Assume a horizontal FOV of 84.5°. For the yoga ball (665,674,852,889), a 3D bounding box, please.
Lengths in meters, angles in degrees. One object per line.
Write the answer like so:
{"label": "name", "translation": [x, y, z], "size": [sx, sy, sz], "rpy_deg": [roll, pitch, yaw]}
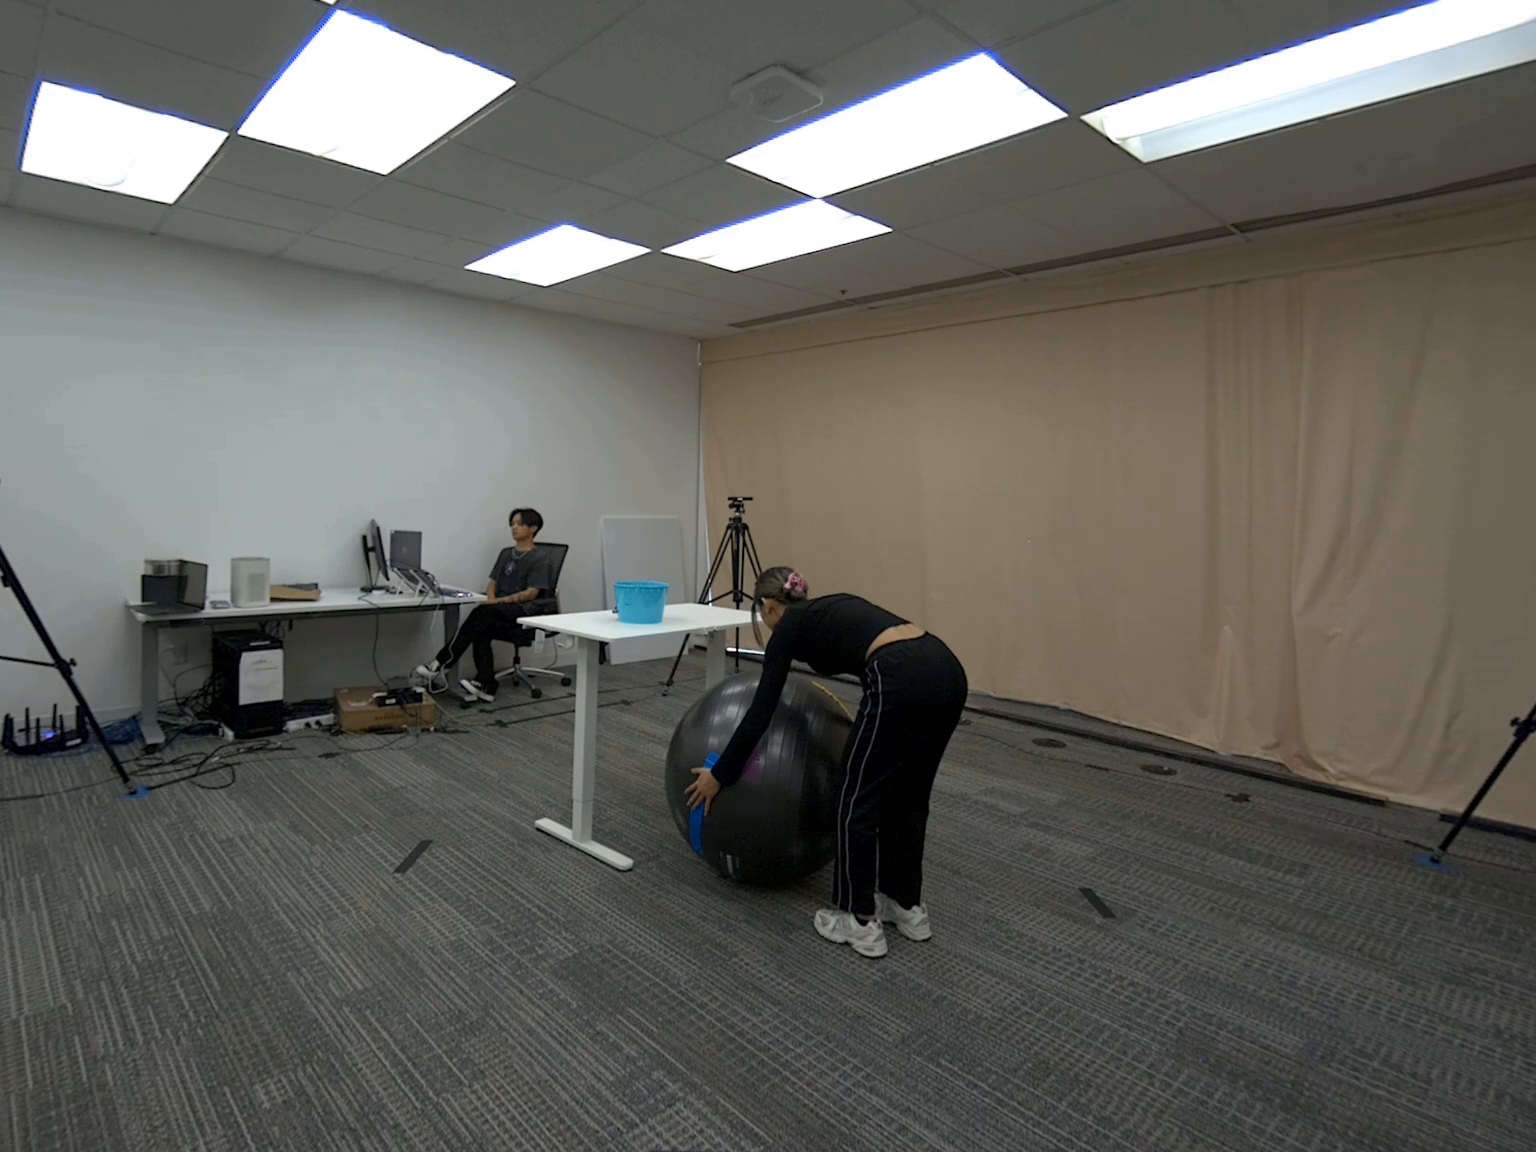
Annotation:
{"label": "yoga ball", "translation": [-0.005, 0.744, 3.120], "size": [0.757, 0.756, 0.760], "rpy_deg": [1, 4, -1]}
